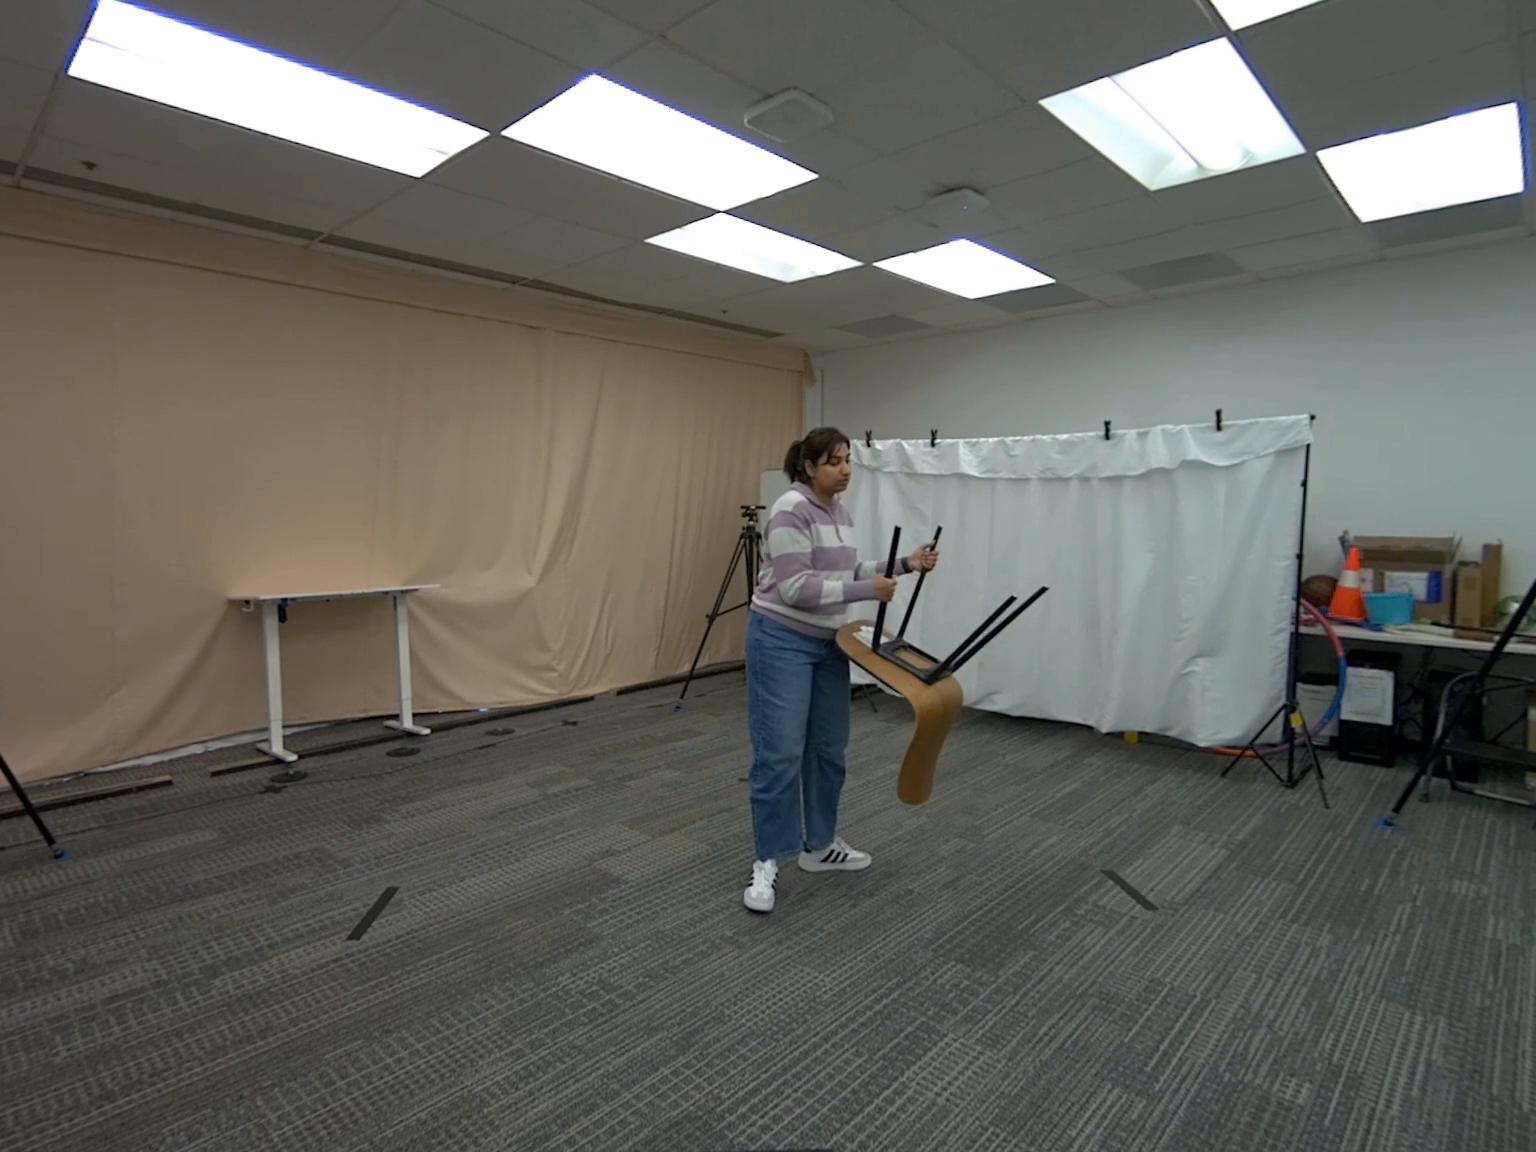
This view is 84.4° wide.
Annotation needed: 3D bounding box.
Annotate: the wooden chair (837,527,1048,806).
[{"bbox_3d":[0.518,0.302,3.013,0.539,0.875,0.465,31,17,27],"label":"wooden chair"}]
